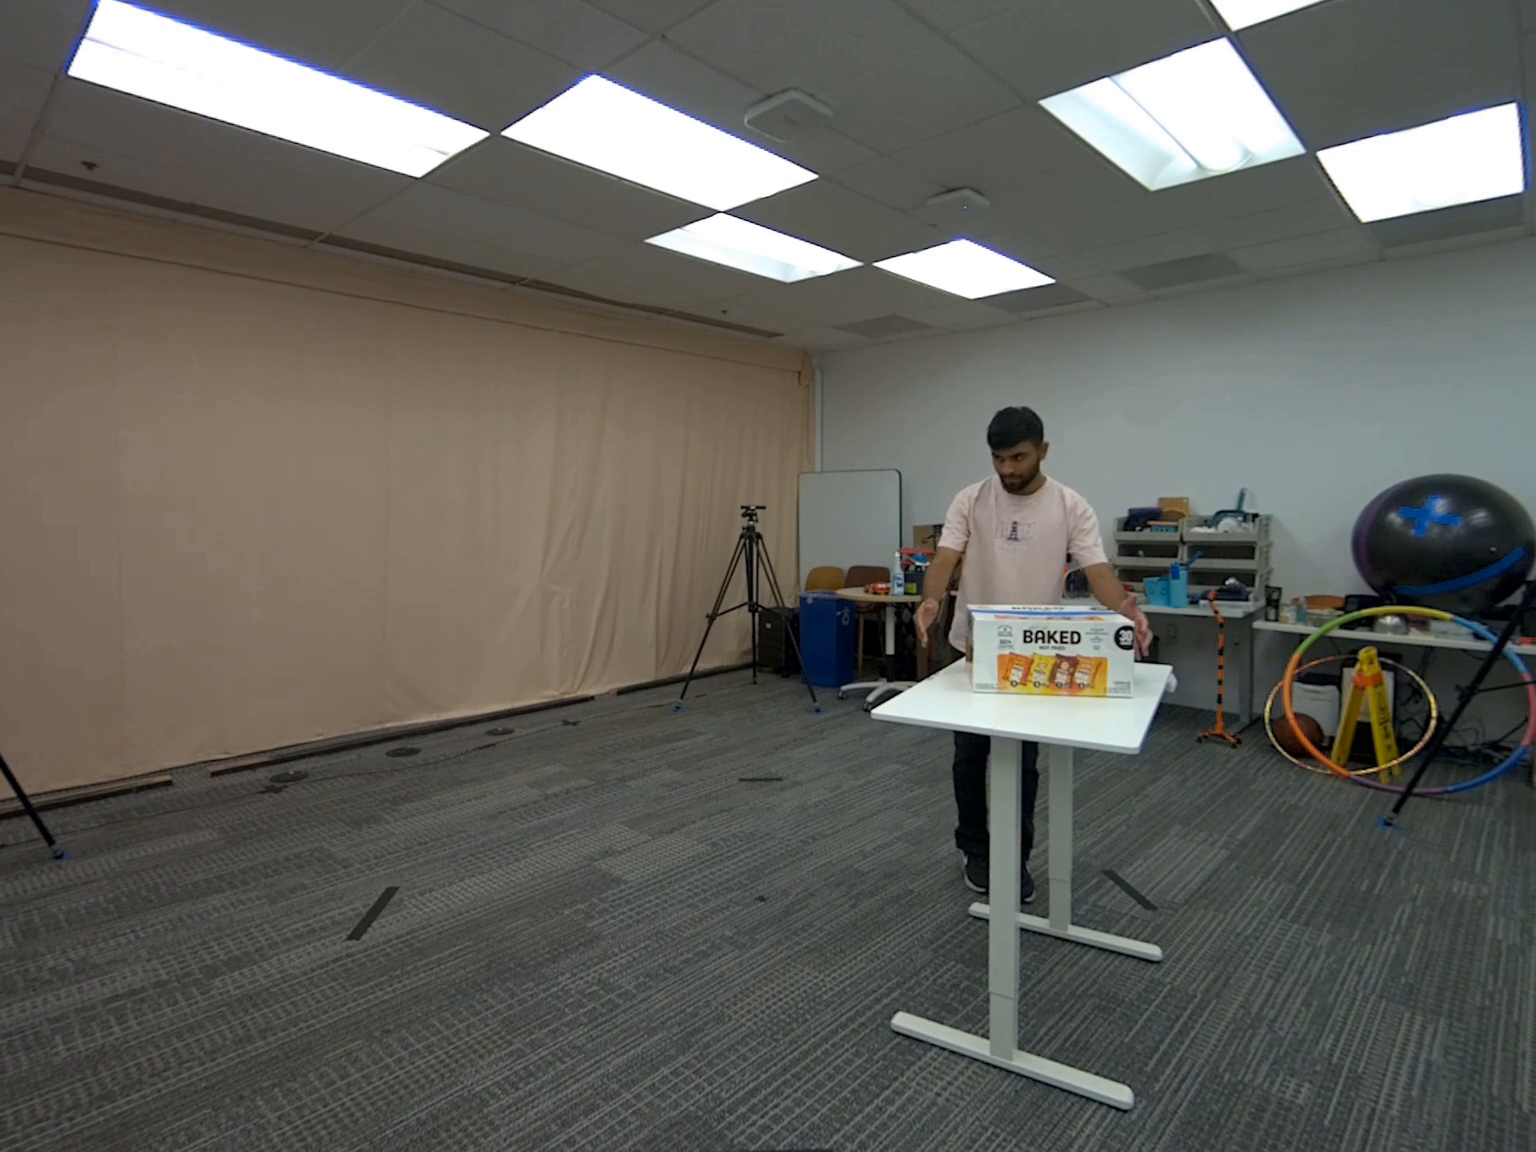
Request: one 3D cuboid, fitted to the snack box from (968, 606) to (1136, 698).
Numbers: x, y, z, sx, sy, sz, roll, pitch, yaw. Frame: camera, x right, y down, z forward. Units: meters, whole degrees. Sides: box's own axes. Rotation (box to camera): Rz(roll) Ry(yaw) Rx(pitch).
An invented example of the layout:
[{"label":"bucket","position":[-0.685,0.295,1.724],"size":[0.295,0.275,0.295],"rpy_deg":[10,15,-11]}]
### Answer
[{"label":"snack box","position":[0.785,0.204,2.408],"size":[0.411,0.205,0.337],"rpy_deg":[1,5,12]}]
